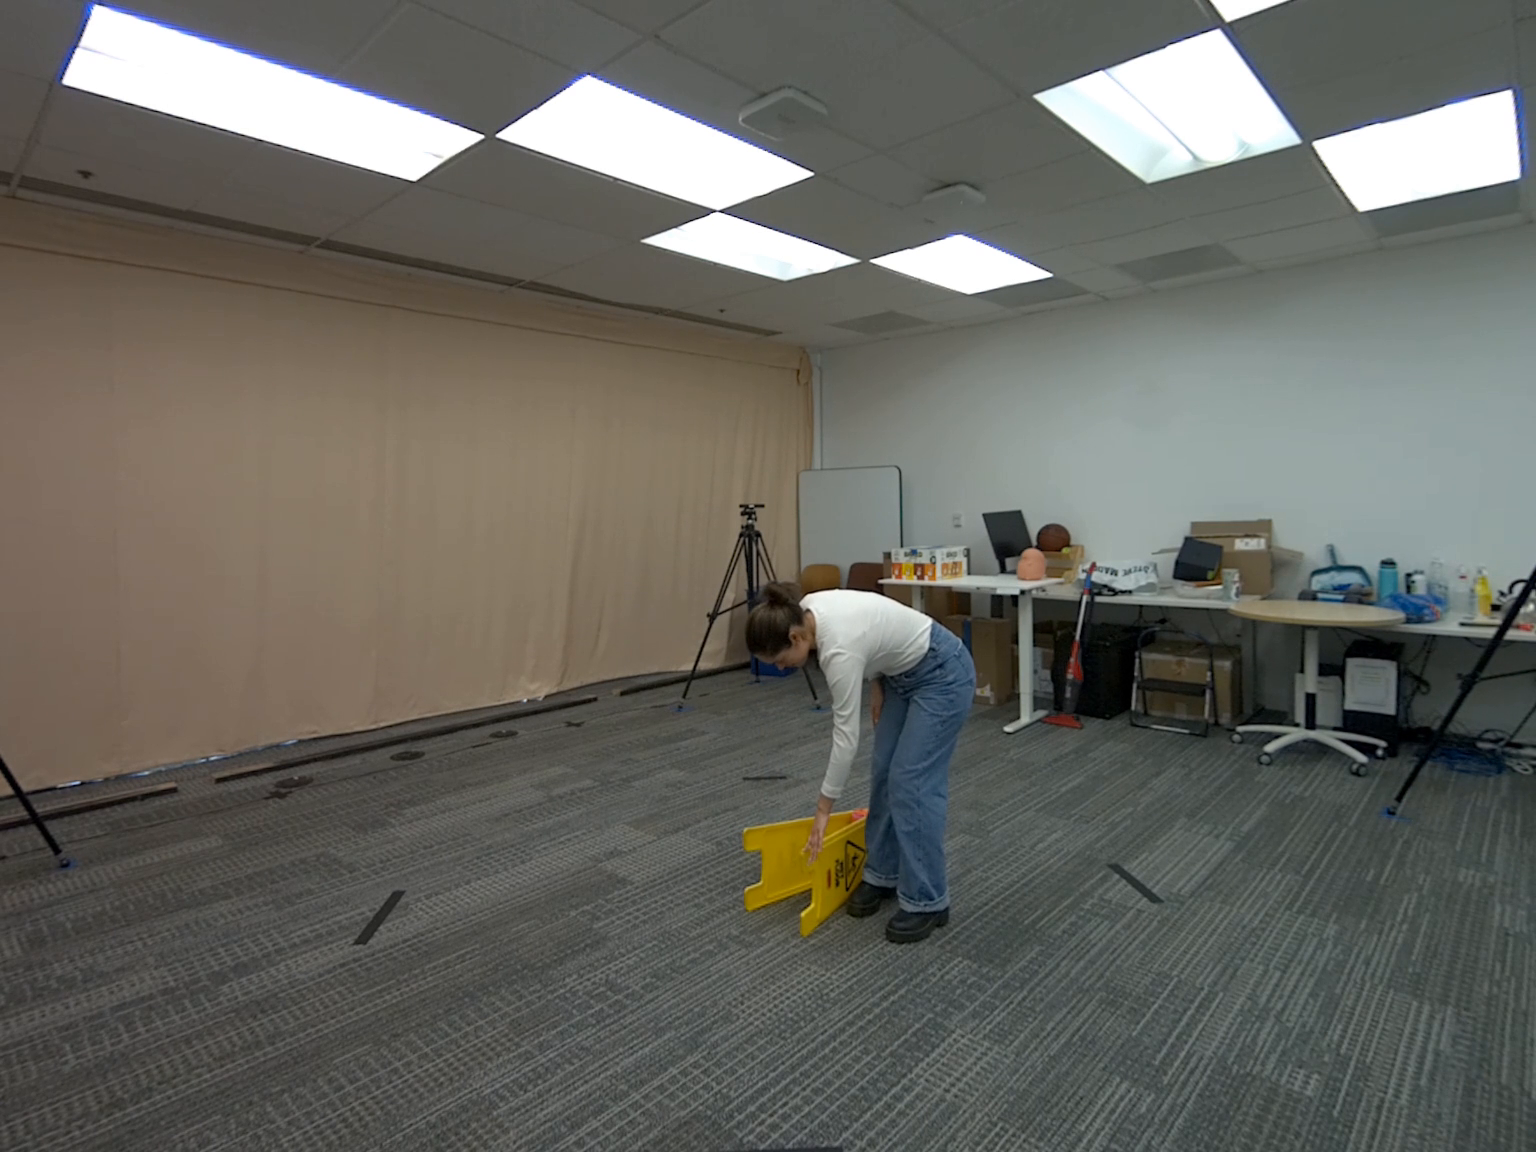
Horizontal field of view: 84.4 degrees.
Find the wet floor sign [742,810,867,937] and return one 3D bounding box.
[{"bbox_3d":[0.236,1.003,3.016,0.626,0.282,0.299,-4,5,-45],"label":"wet floor sign"}]
